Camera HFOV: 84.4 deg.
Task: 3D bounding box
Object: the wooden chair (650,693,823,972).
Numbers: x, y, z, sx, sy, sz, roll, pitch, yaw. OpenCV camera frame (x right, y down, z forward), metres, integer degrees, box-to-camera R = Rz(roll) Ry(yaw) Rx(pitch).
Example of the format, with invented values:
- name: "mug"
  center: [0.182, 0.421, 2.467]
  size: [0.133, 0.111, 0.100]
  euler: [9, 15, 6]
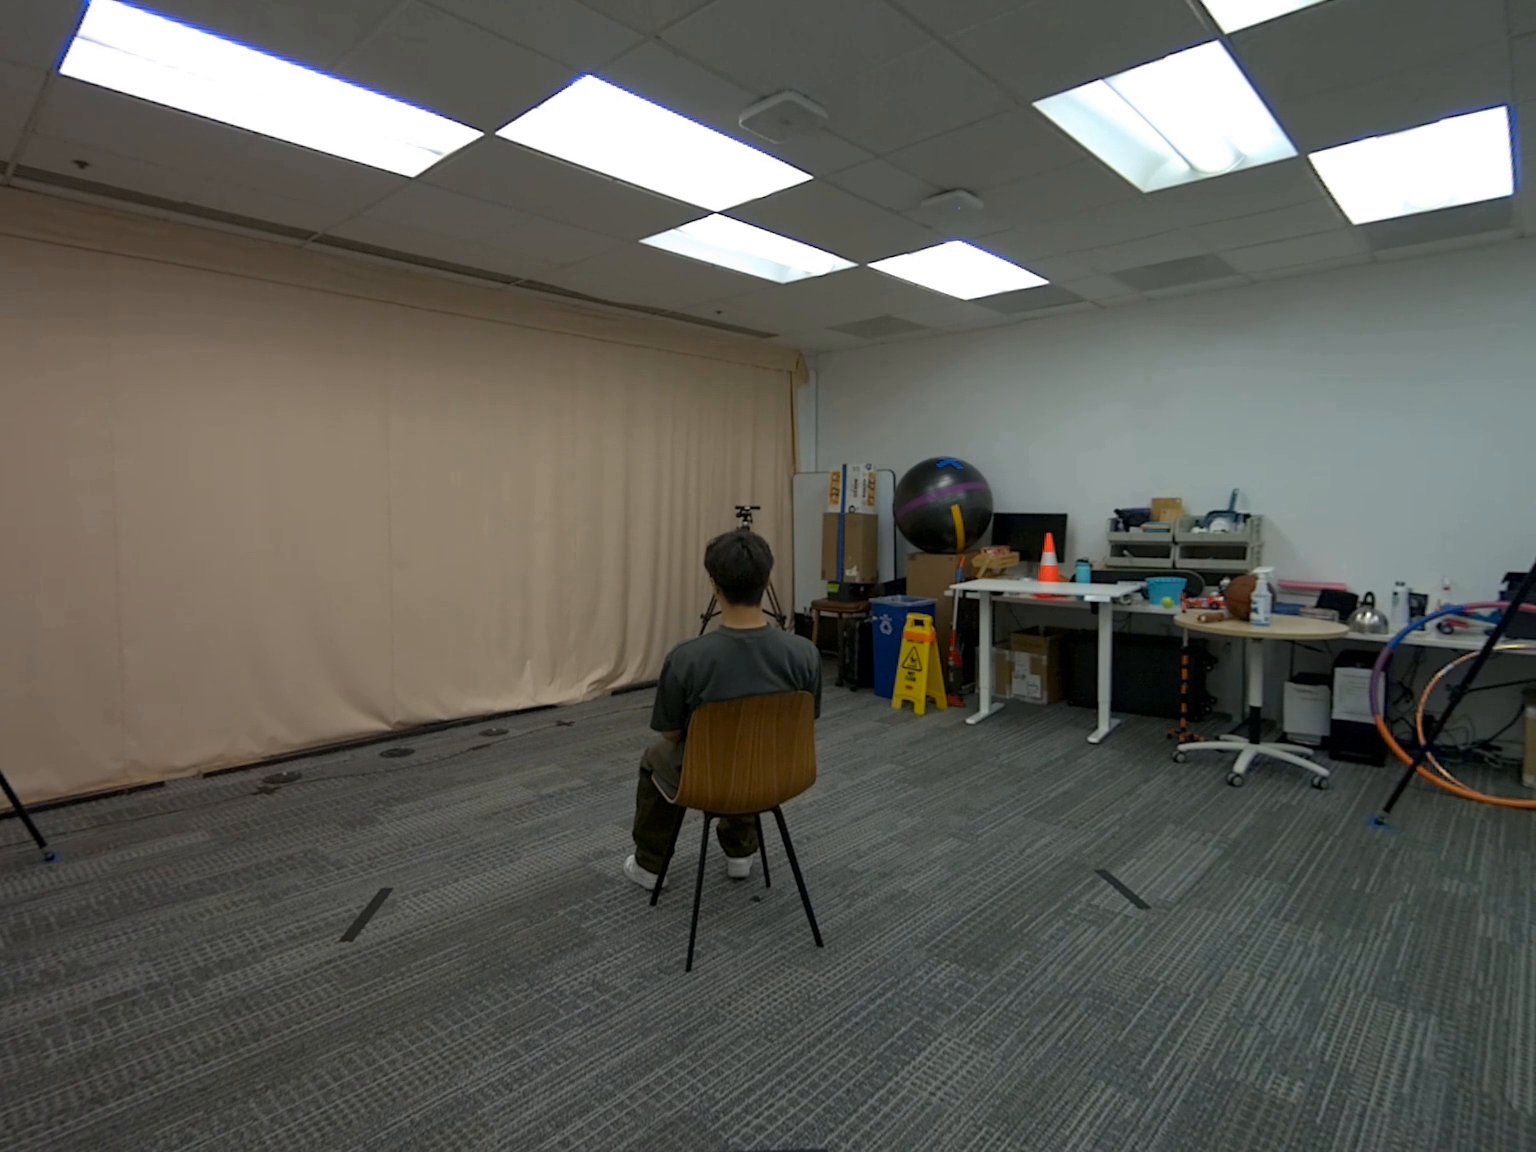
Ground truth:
- name: "wooden chair"
  center: [-0.118, 0.730, 2.773]
  size: [0.469, 0.873, 0.536]
  euler: [-2, 8, -20]
